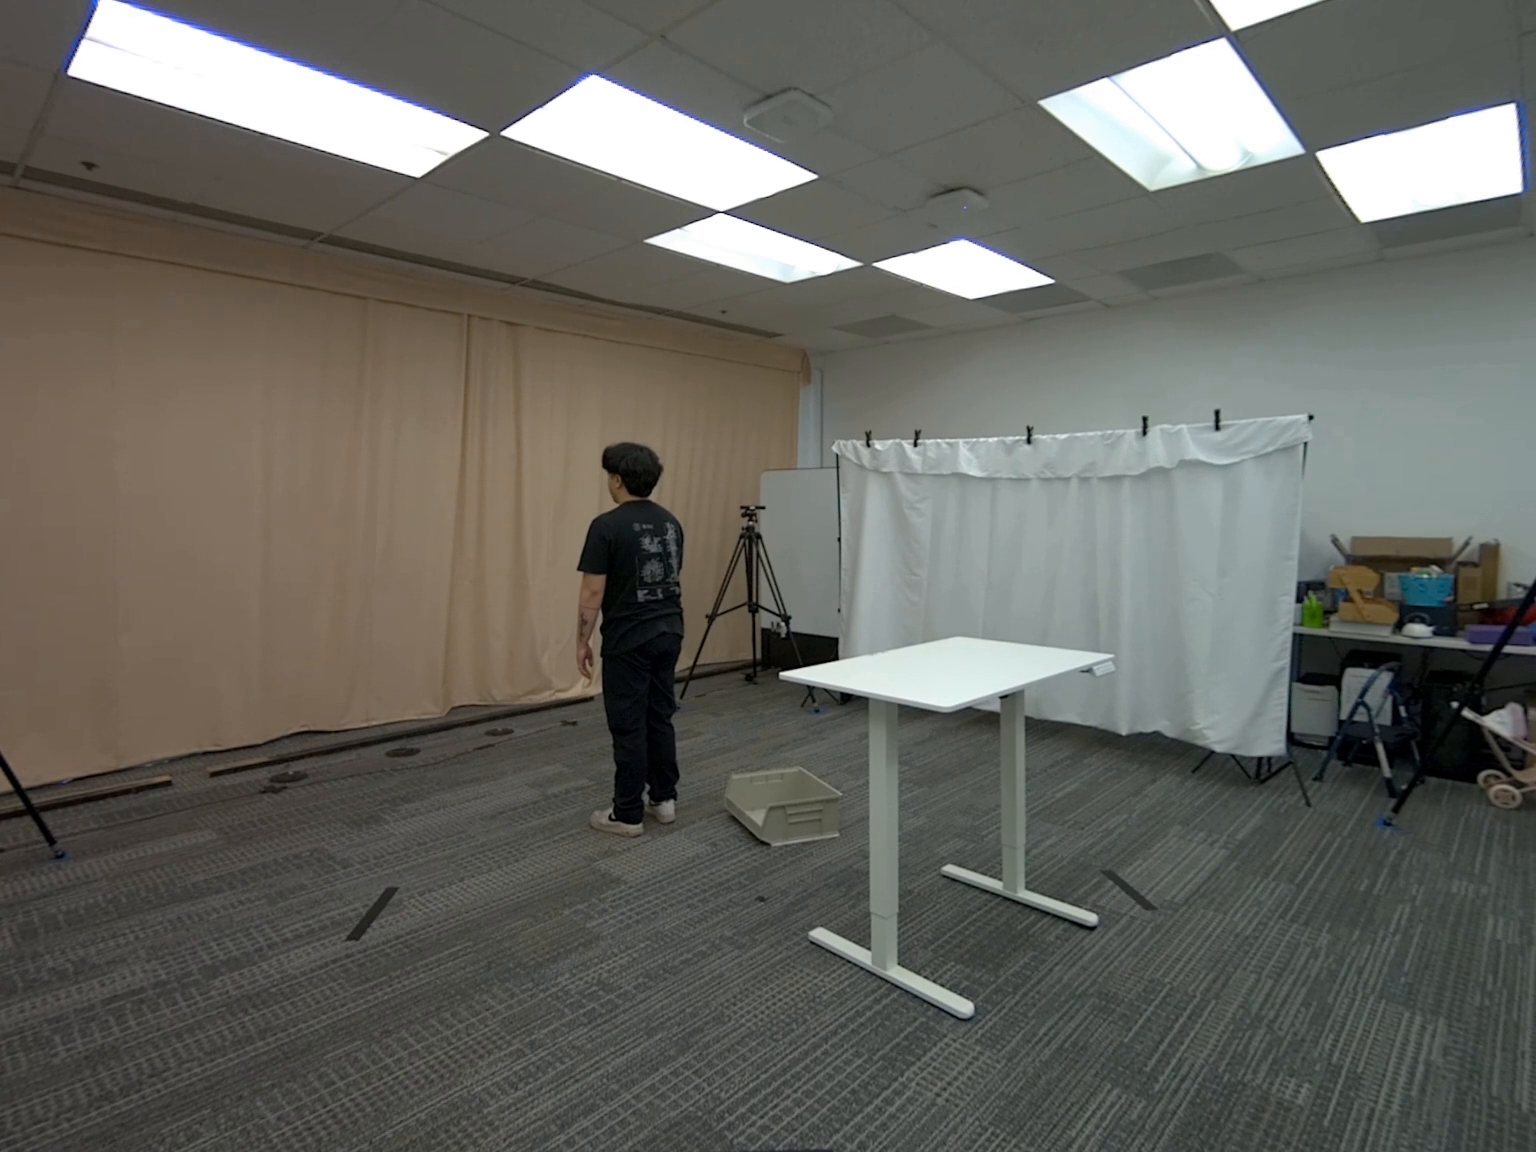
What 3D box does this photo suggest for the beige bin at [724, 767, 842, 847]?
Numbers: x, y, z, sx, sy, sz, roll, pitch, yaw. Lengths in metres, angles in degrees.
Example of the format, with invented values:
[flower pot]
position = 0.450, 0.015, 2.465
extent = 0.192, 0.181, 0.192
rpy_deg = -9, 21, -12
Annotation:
[beige bin]
position = 0.057, 1.000, 3.667
extent = 0.369, 0.188, 0.432
rpy_deg = -1, 4, -22
